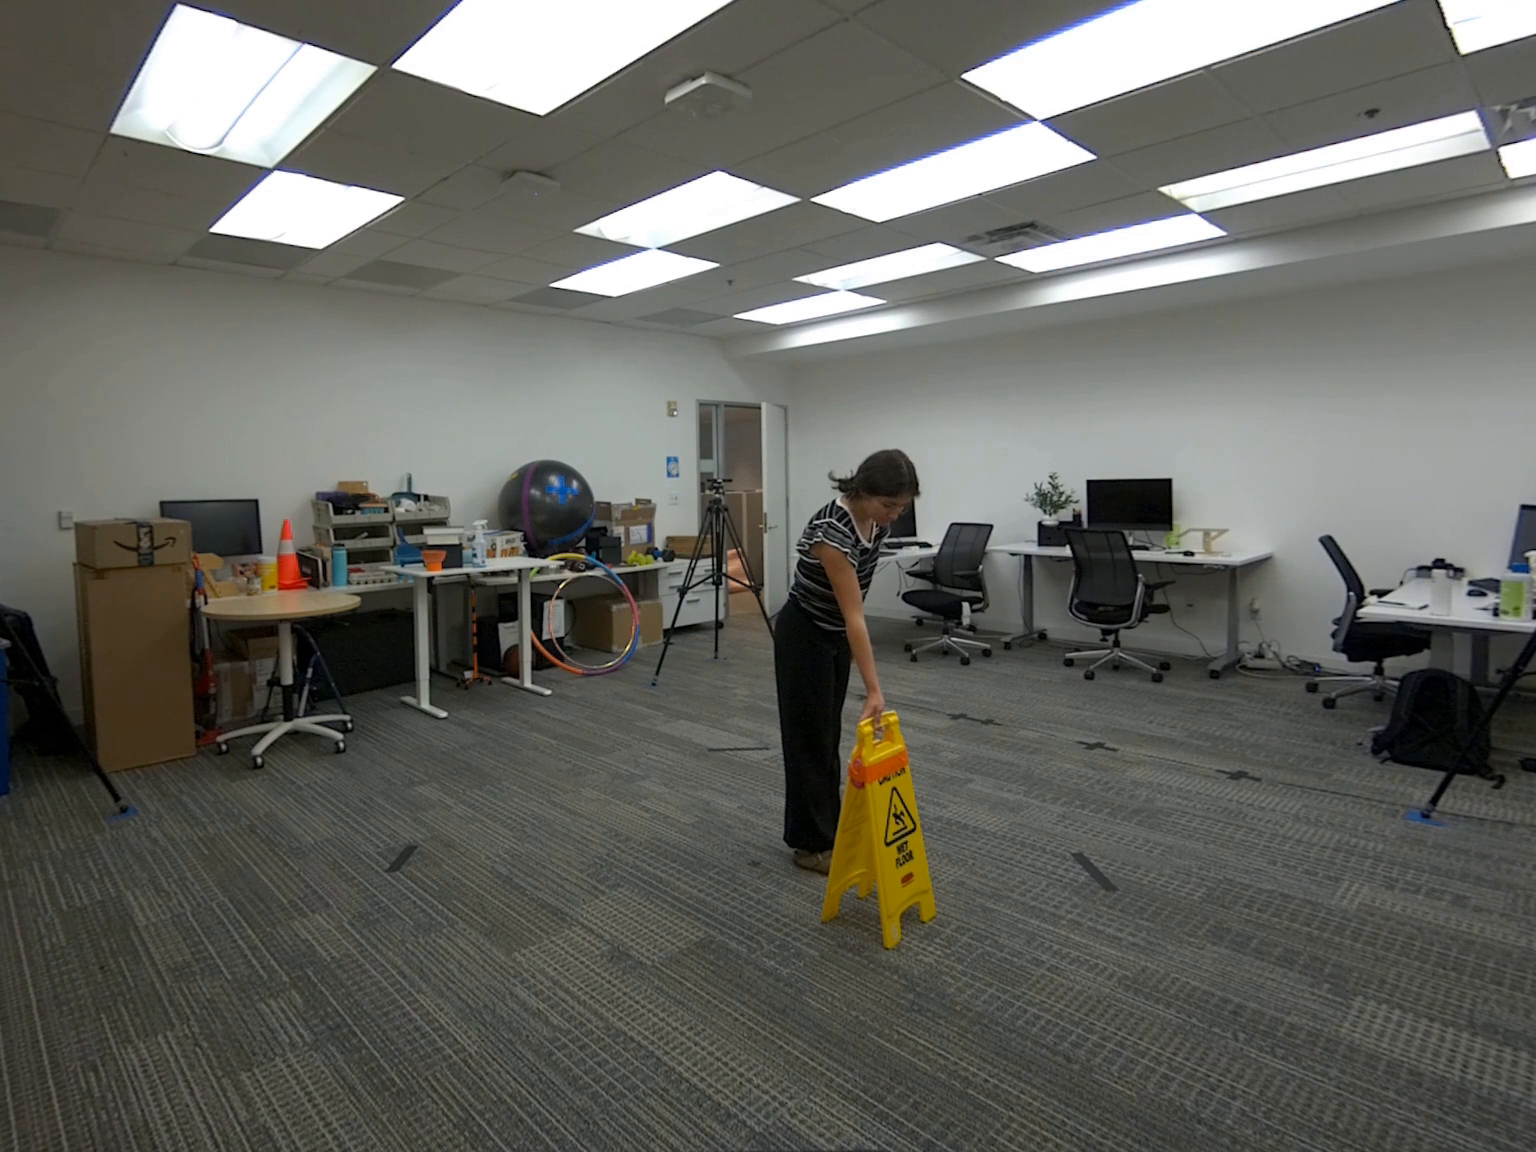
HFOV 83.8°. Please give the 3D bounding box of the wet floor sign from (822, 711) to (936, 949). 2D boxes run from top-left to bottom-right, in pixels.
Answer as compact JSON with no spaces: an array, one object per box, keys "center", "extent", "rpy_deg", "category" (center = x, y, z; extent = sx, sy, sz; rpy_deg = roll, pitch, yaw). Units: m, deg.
[{"center":[0.348,0.763,2.685],"extent":[0.299,0.643,0.275],"rpy_deg":[6,8,41],"category":"wet floor sign"}]
